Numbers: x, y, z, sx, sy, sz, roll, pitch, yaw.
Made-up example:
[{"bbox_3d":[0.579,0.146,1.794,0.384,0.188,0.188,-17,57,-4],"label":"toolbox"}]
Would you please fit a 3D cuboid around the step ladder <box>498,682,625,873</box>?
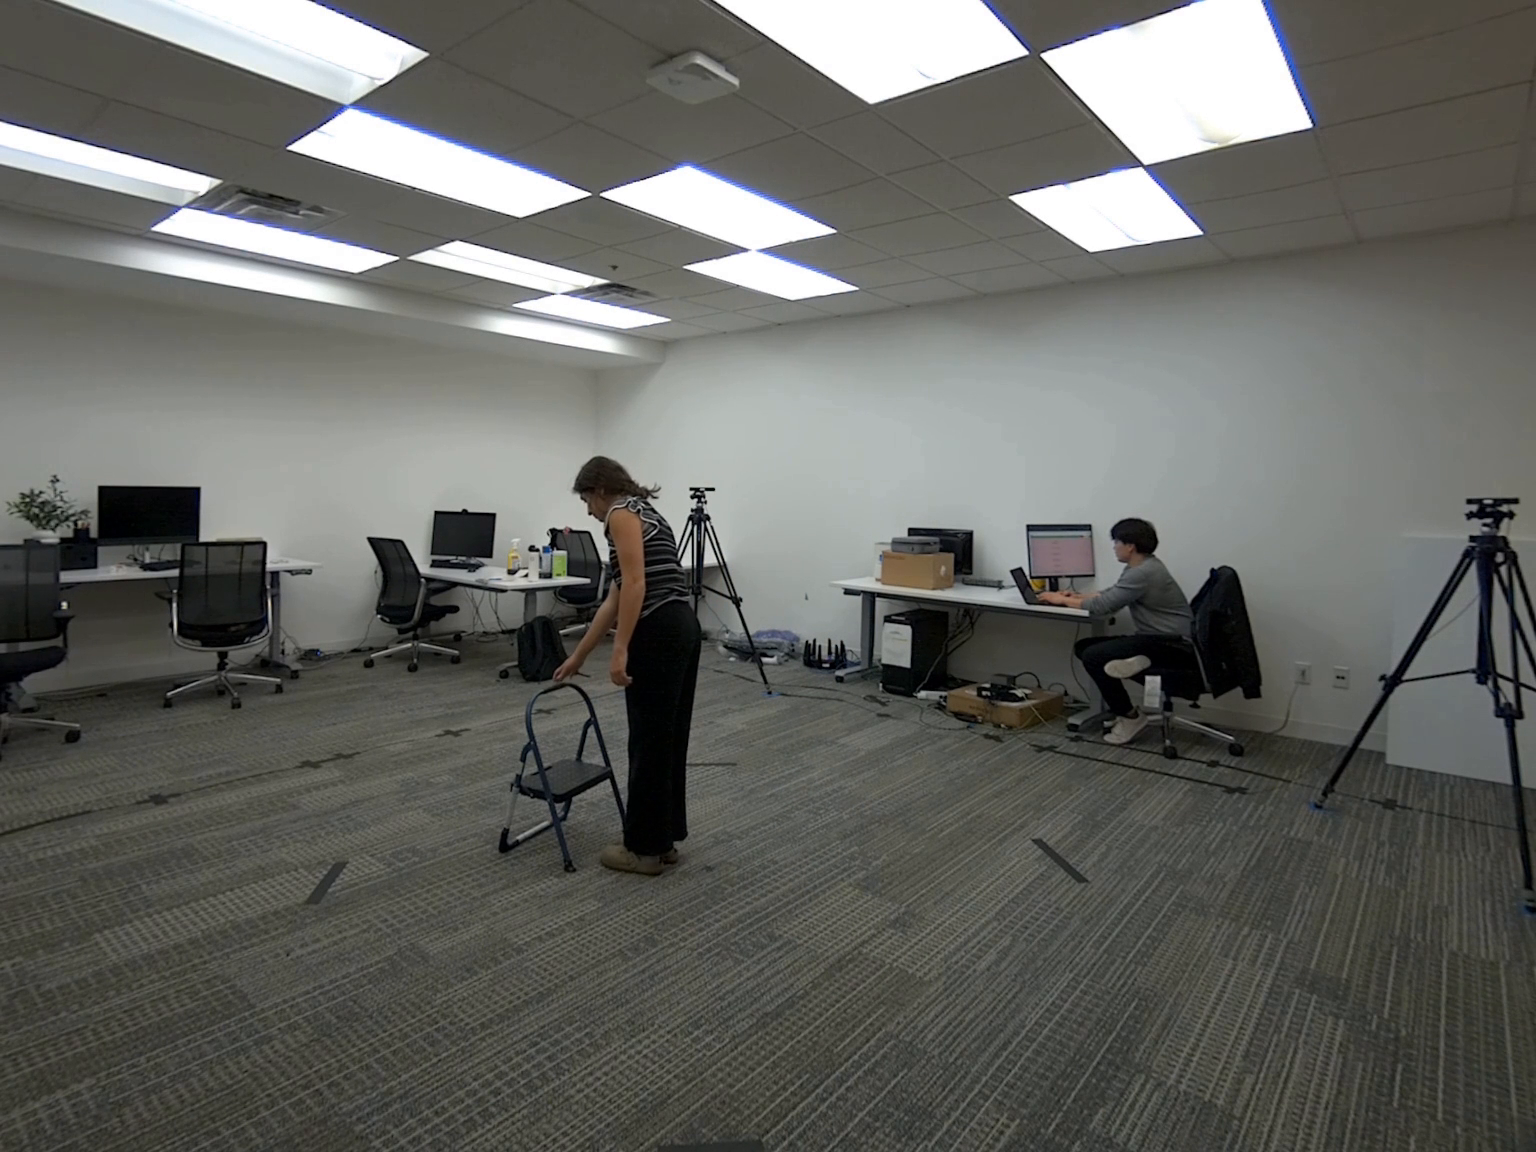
[{"bbox_3d":[-0.789,0.734,3.310,0.358,0.604,0.421,3,4,24],"label":"step ladder"}]
